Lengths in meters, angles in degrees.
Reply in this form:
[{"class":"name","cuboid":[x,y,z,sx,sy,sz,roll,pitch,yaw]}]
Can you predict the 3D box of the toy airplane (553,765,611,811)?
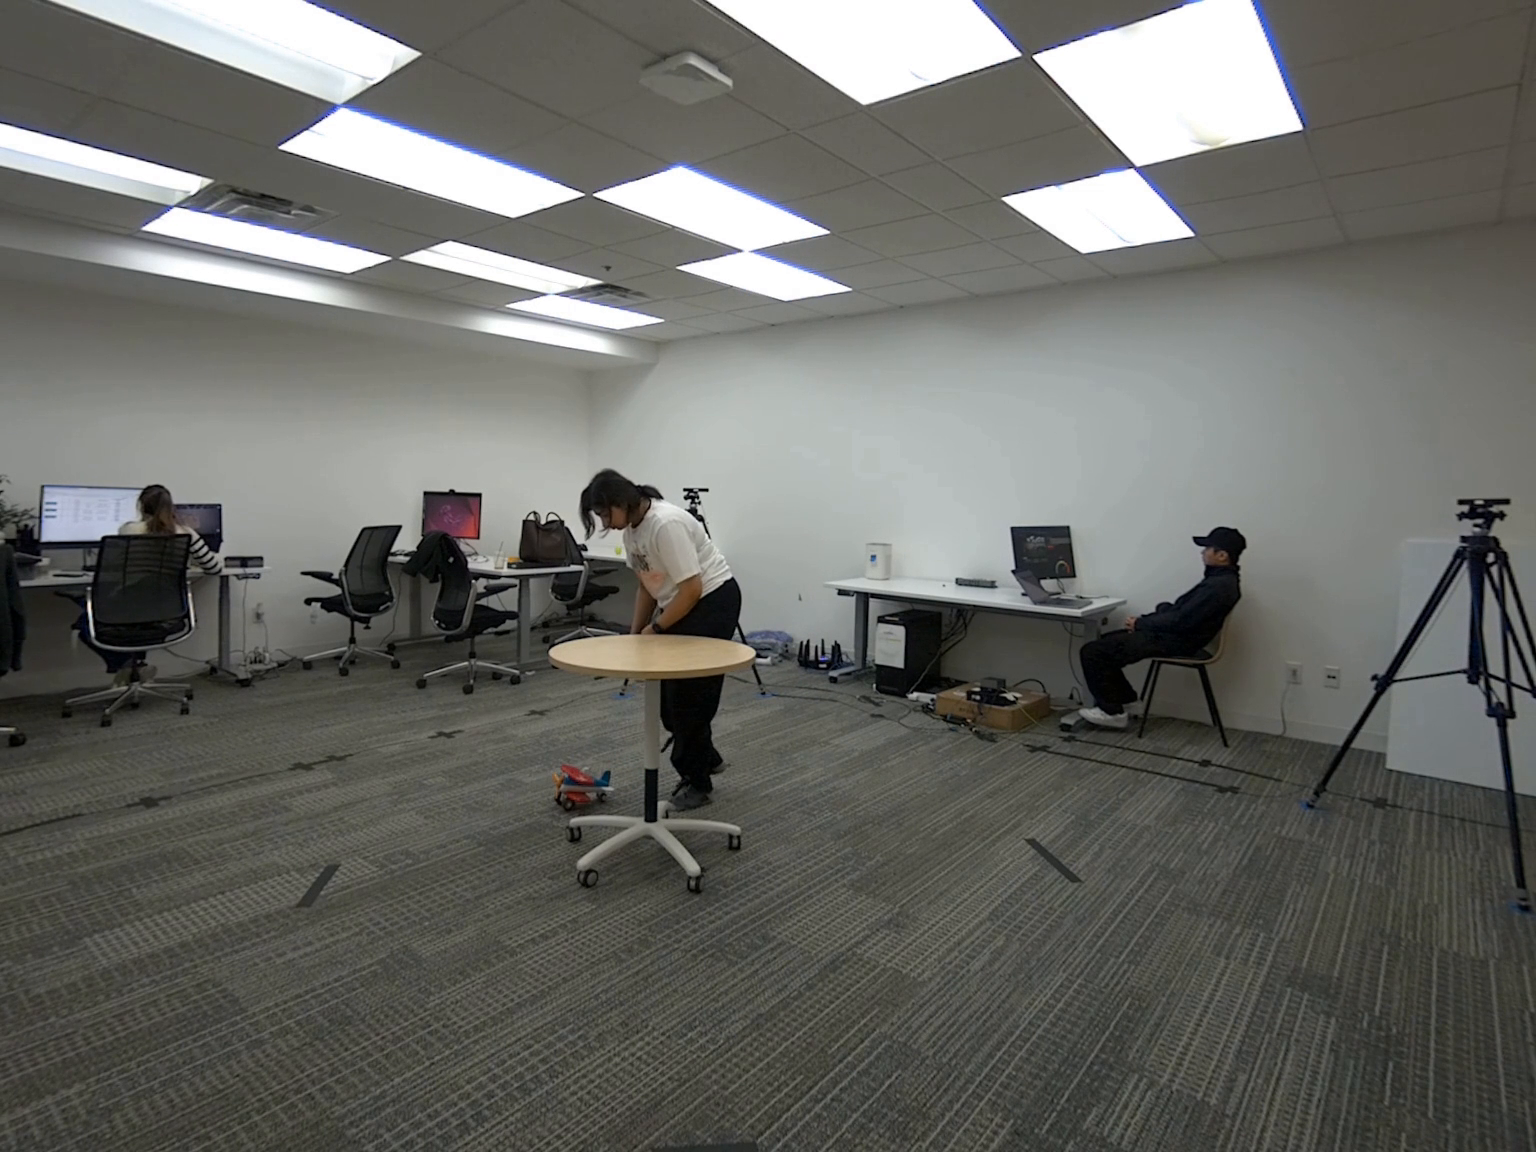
[{"class":"toy airplane","cuboid":[-0.846,0.929,3.756,0.258,0.156,0.253,1,6,30]}]
